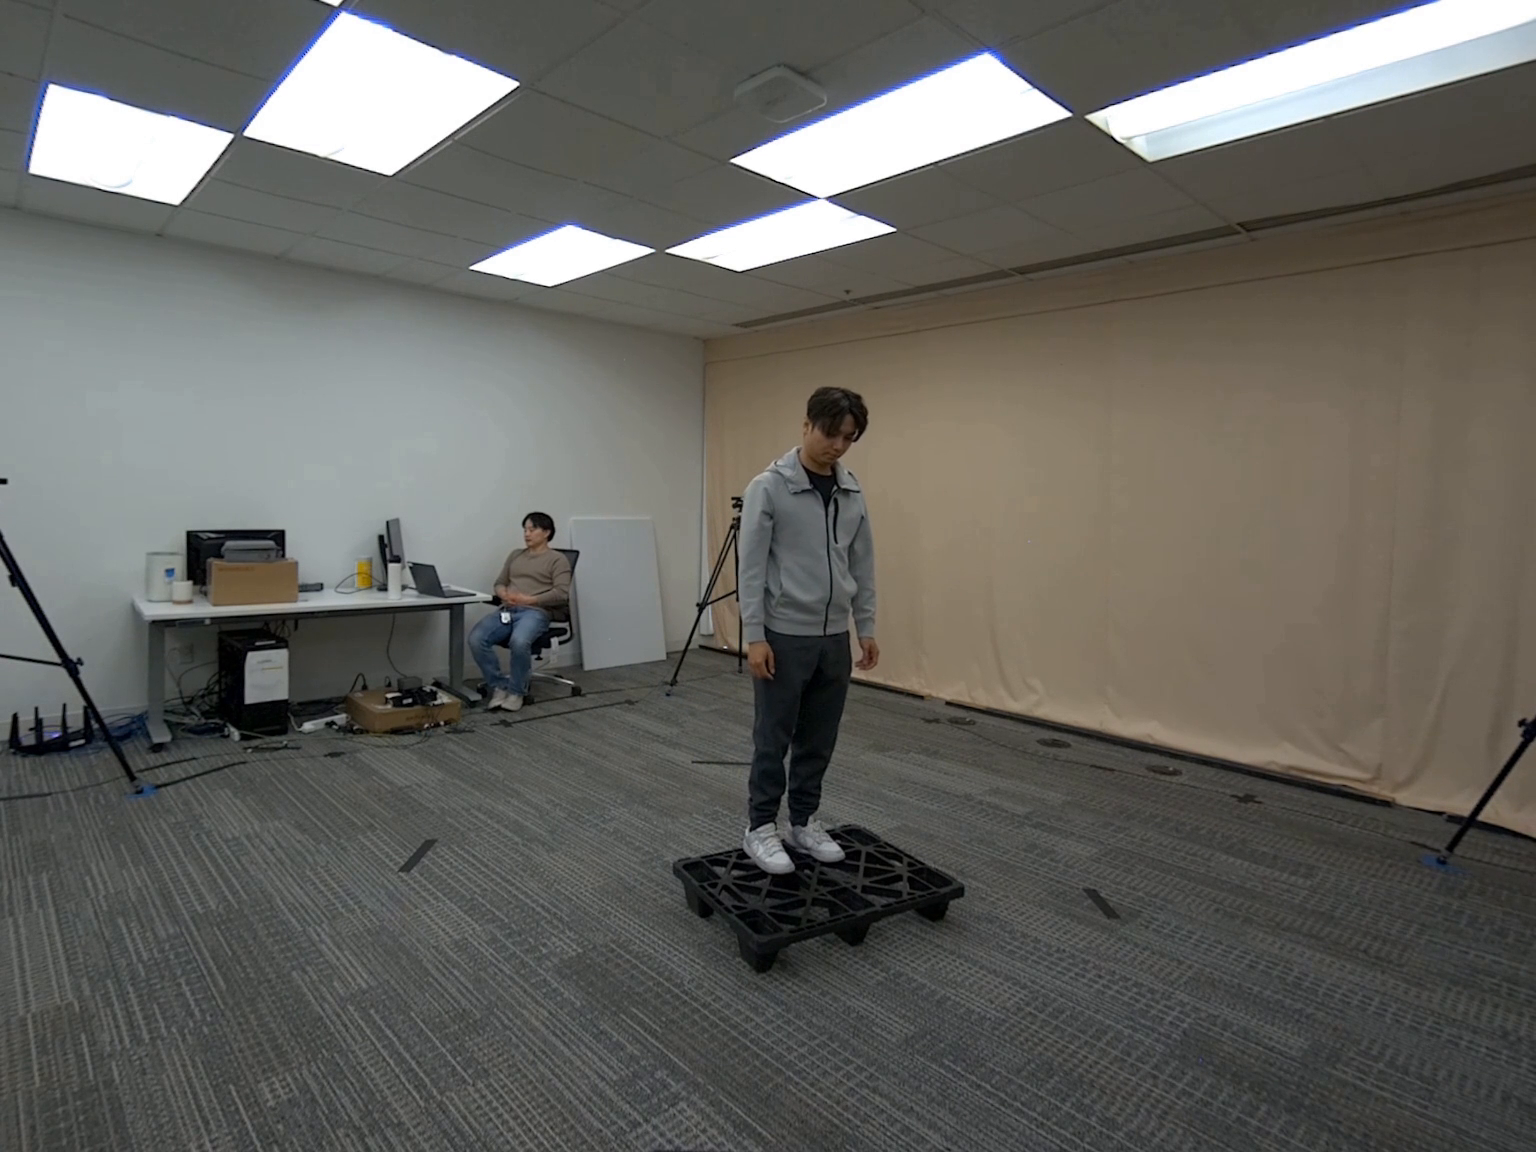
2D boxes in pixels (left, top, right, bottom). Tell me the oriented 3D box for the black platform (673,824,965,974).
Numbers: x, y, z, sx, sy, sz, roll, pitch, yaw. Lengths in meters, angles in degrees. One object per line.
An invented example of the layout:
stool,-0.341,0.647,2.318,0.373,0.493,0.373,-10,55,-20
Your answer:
black platform,0.146,1.071,2.846,0.789,0.143,0.619,-2,5,-30
